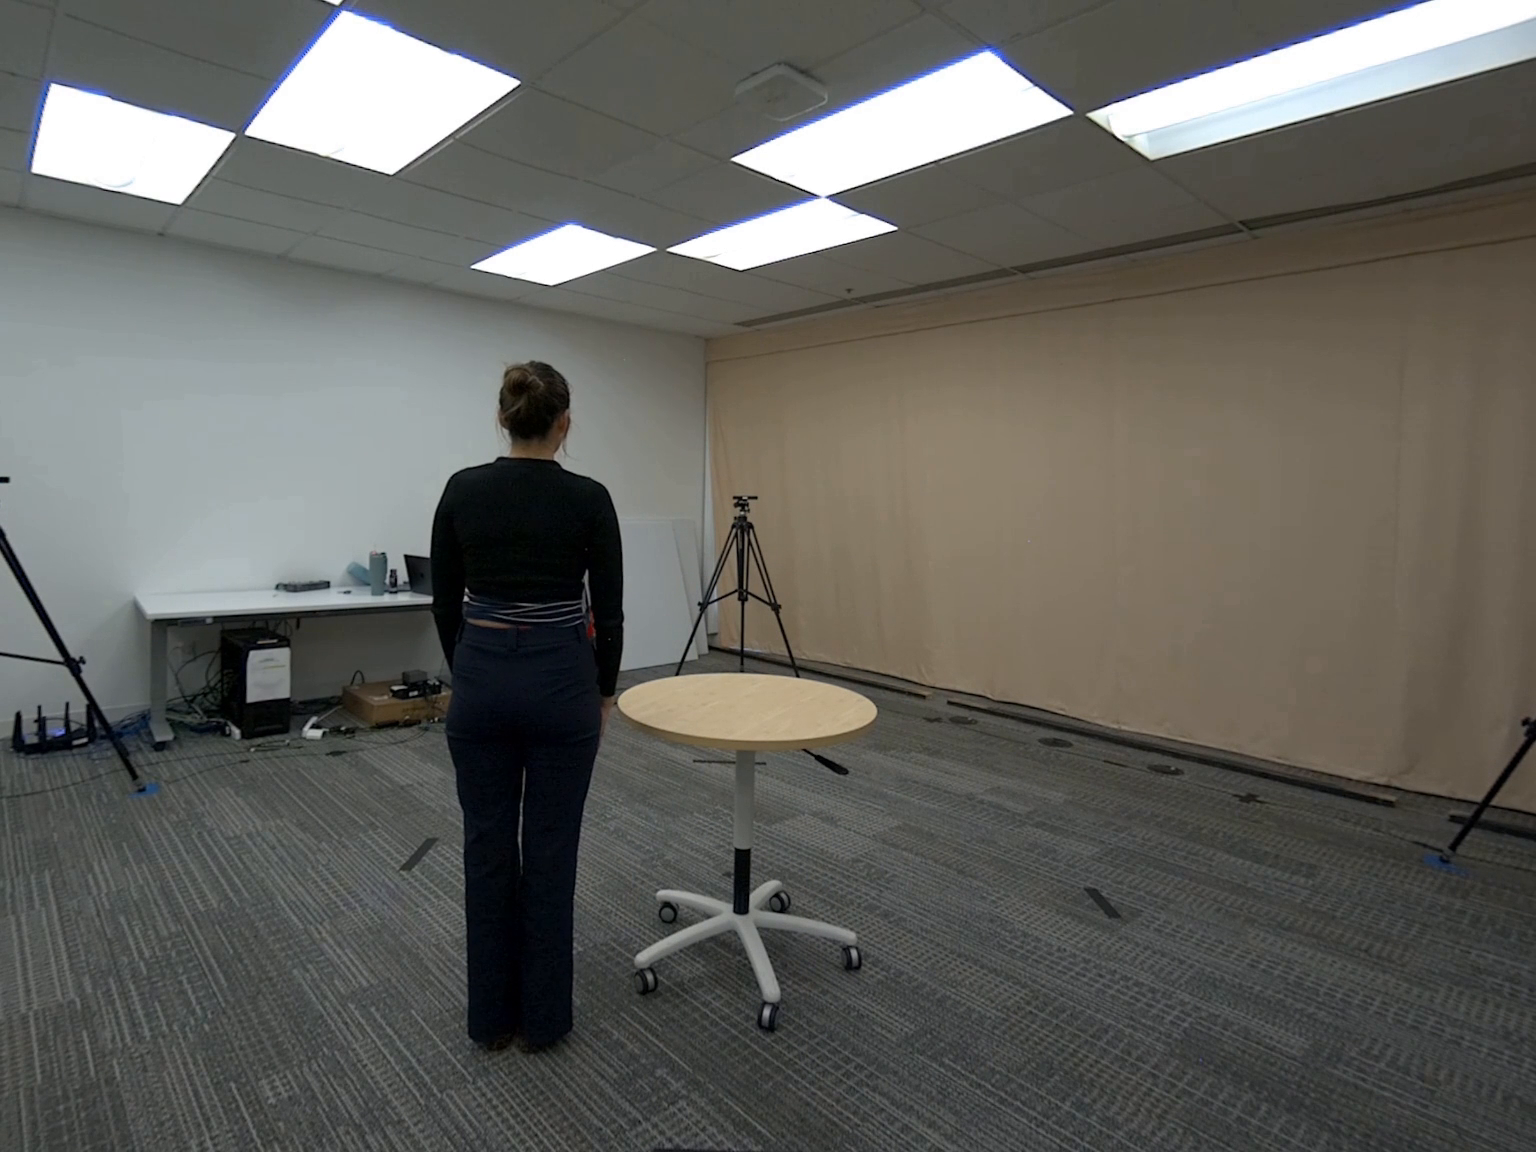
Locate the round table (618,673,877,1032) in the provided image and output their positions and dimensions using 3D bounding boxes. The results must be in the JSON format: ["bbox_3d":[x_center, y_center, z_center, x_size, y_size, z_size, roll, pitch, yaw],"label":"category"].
[{"bbox_3d":[-0.083,0.769,2.529,0.763,0.791,0.767,2,5,-1],"label":"round table"}]
